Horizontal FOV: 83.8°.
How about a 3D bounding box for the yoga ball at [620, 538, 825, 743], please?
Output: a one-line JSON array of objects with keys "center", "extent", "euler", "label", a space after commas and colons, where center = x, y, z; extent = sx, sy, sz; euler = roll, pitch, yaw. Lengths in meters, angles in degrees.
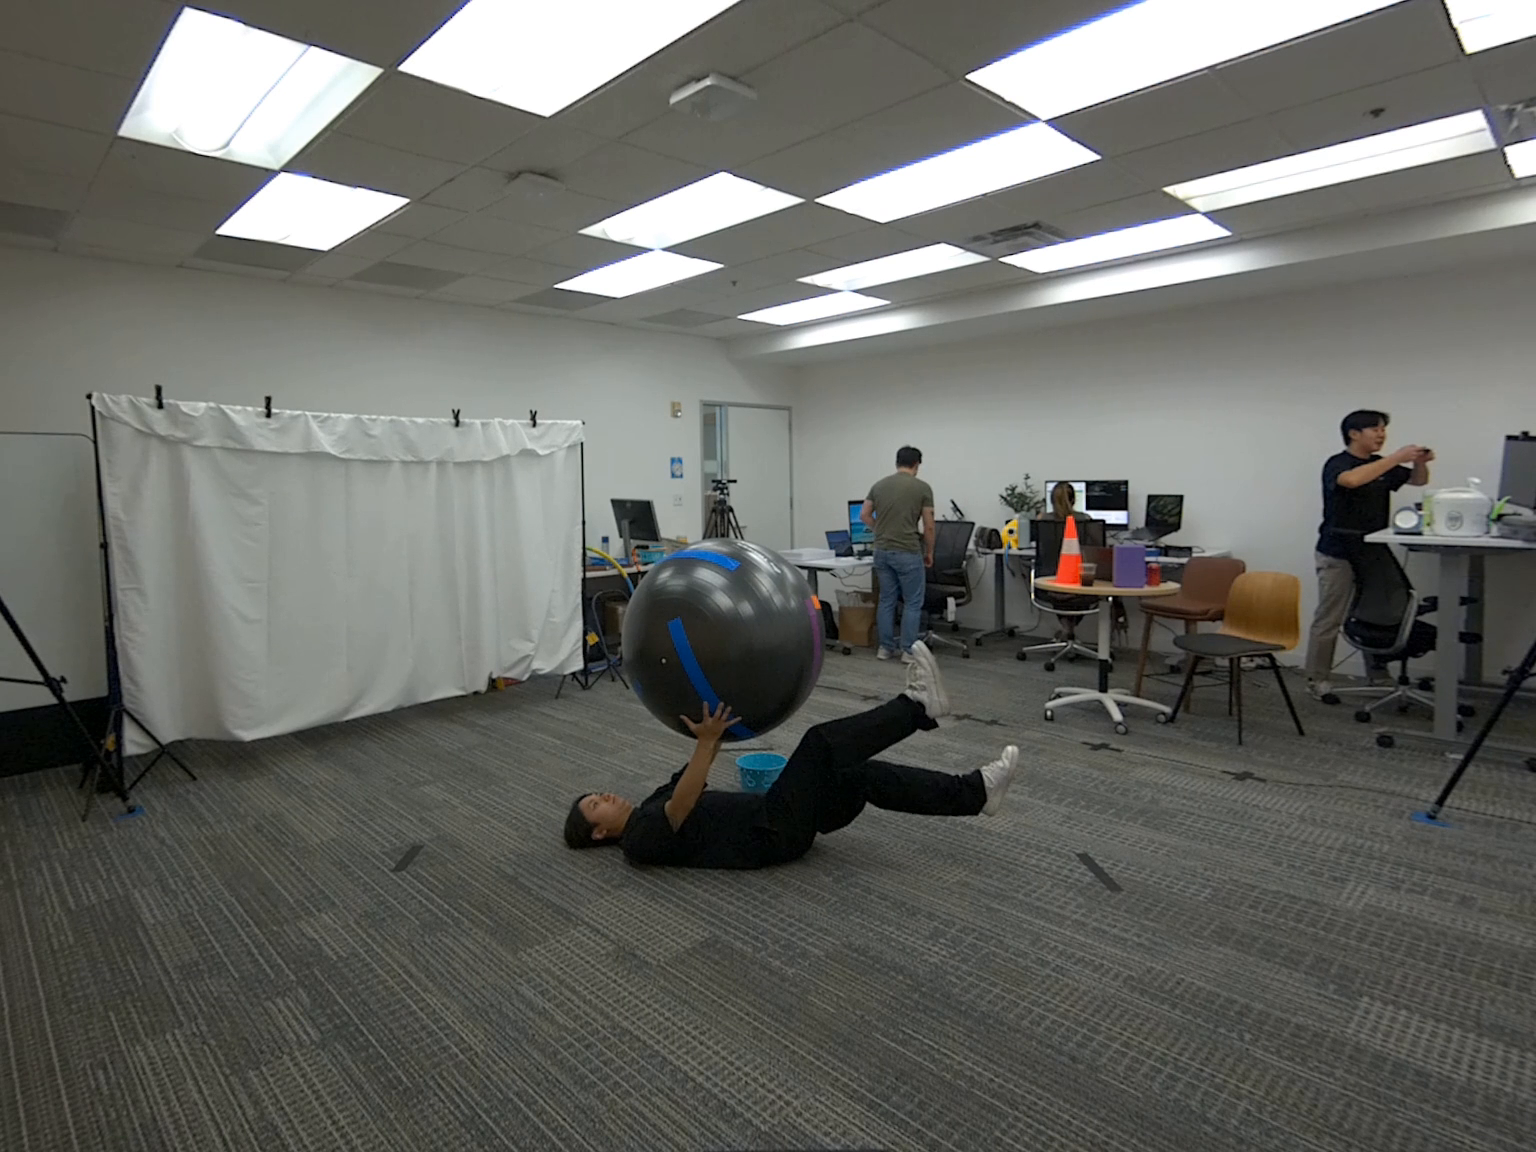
[{"center": [-0.172, 0.245, 3.200], "extent": [0.757, 0.755, 0.762], "euler": [-1, 5, -2], "label": "yoga ball"}]
